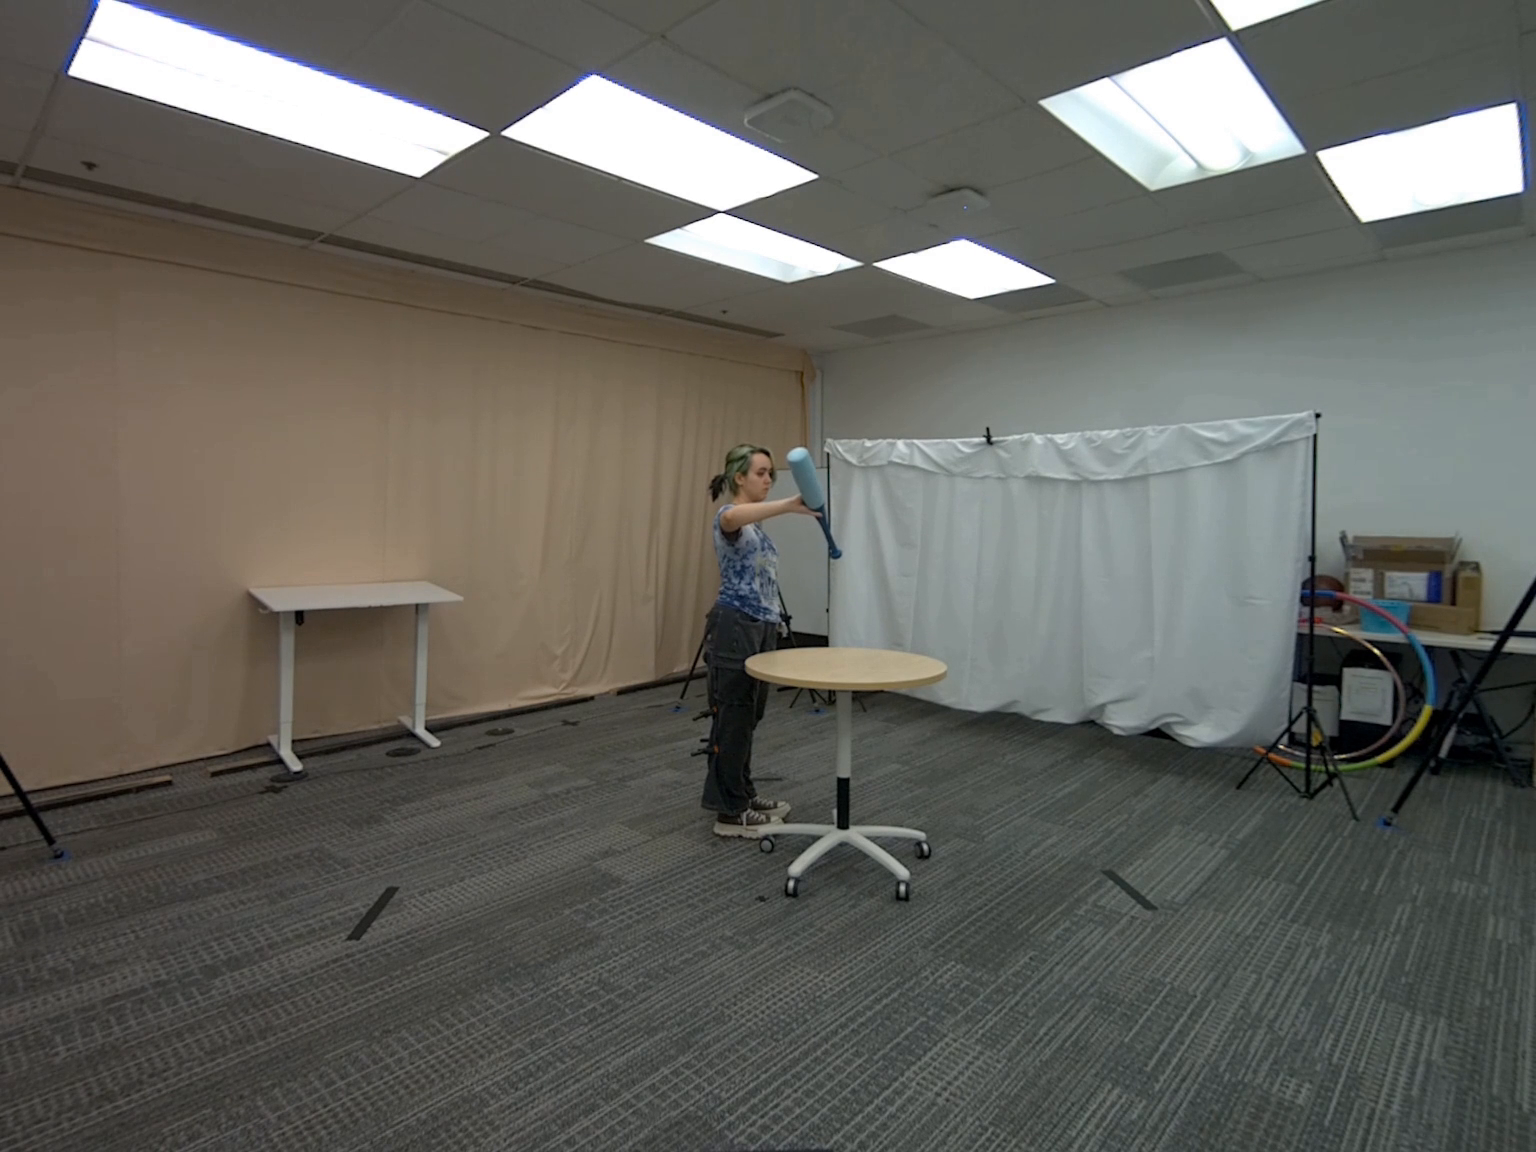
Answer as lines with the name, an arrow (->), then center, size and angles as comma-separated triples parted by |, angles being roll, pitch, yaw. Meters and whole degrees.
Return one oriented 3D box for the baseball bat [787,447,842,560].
baseball bat -> 0.189, -0.261, 3.258 | 0.090, 0.527, 0.091 | -16, 38, 11
